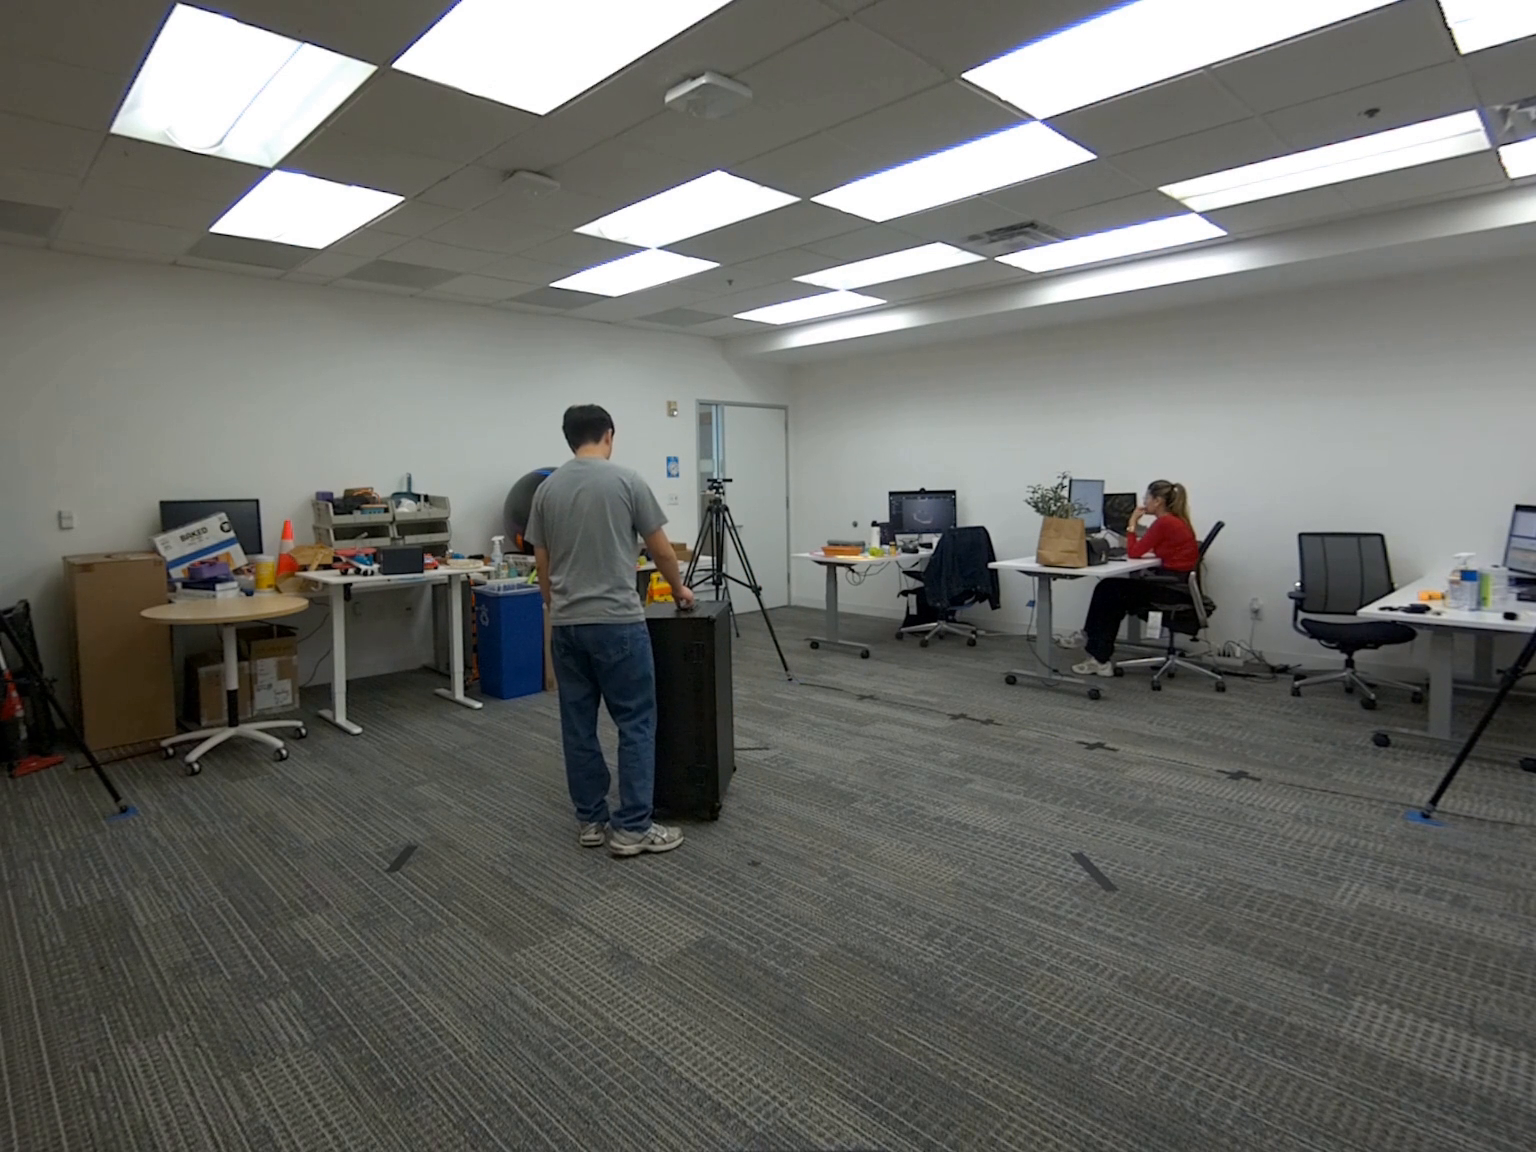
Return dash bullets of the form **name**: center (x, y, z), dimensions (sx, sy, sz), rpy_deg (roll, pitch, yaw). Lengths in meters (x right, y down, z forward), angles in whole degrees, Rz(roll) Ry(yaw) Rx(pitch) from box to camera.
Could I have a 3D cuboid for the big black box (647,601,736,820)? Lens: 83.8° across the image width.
- **big black box**: center (-0.363, 0.568, 3.674), dimensions (0.399, 0.858, 0.519), rpy_deg (-1, 4, 7)
